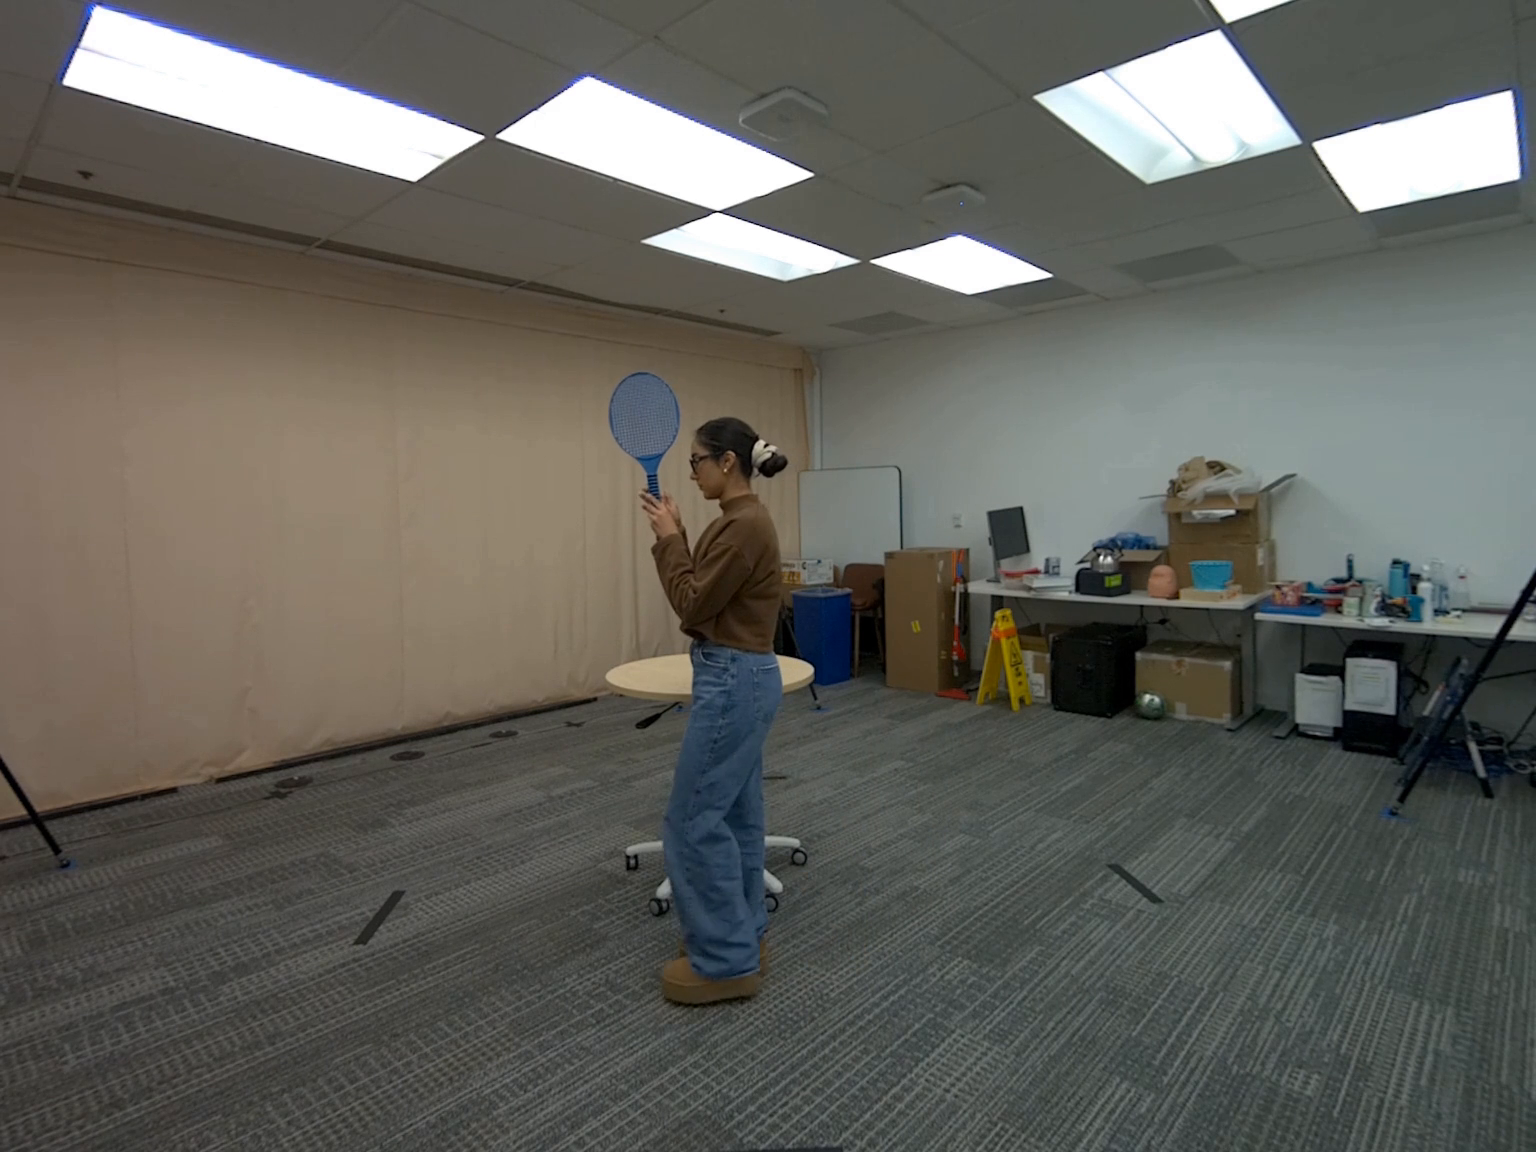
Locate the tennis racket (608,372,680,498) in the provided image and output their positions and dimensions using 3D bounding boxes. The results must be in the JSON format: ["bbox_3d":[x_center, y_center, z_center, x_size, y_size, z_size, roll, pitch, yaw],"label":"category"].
[{"bbox_3d":[-0.346,-0.399,2.509,0.215,0.434,0.031,-10,-4,6],"label":"tennis racket"}]
